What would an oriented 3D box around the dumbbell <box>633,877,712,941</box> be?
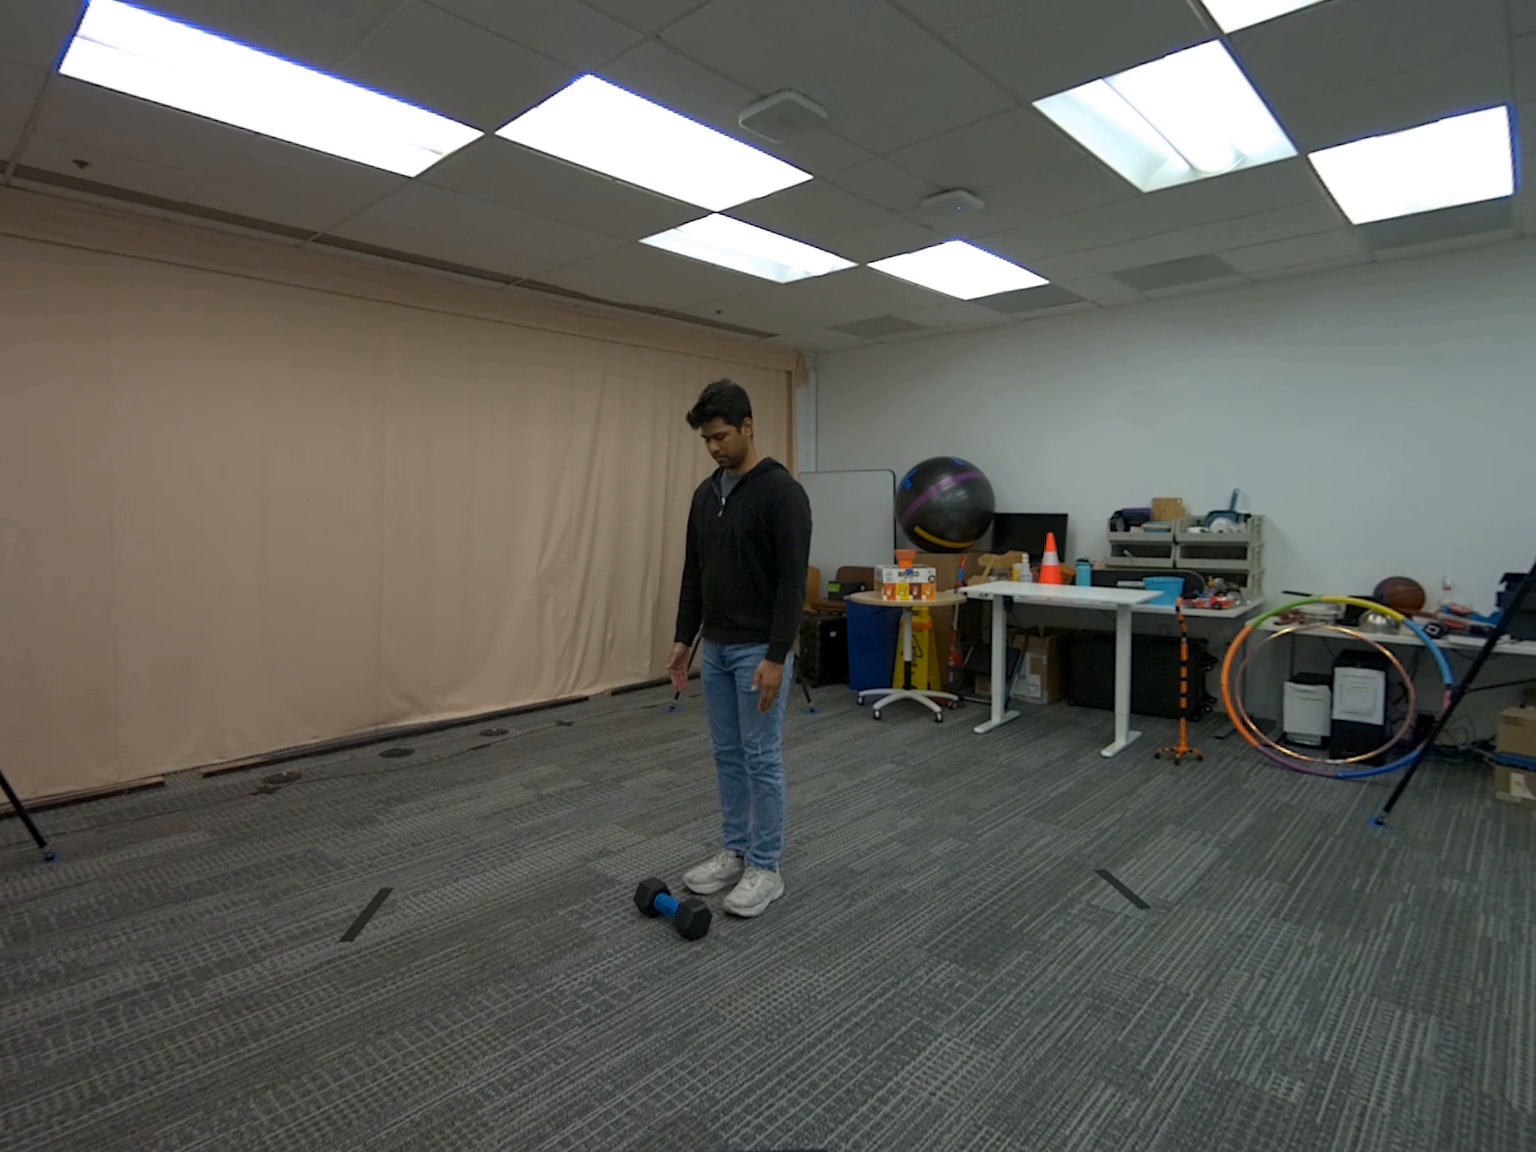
[{"bbox_3d":[-0.319,1.108,2.802,0.303,0.120,0.107,4,37,45],"label":"dumbbell"}]
